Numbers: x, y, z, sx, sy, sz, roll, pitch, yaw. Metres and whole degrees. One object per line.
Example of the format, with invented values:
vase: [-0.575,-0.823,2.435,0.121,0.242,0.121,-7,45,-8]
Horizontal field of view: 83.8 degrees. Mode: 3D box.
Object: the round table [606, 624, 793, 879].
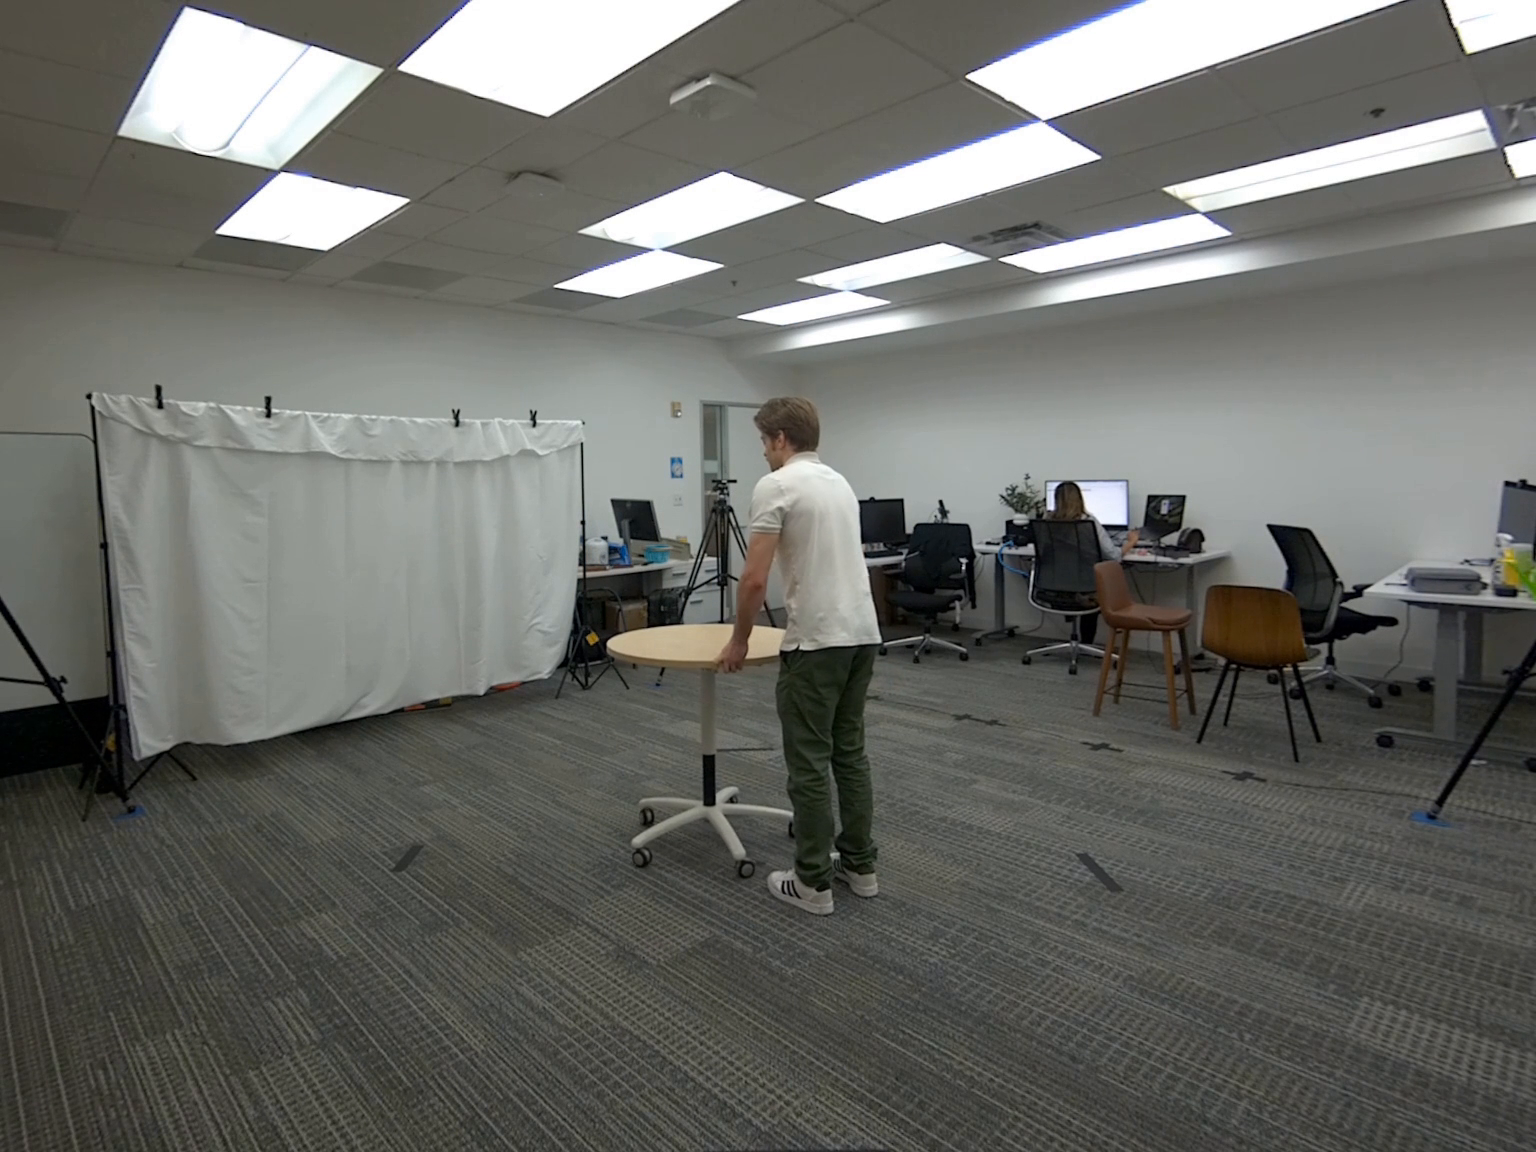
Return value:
round table: [-0.231,0.641,3.300,0.763,0.791,0.767,-1,4,-2]
